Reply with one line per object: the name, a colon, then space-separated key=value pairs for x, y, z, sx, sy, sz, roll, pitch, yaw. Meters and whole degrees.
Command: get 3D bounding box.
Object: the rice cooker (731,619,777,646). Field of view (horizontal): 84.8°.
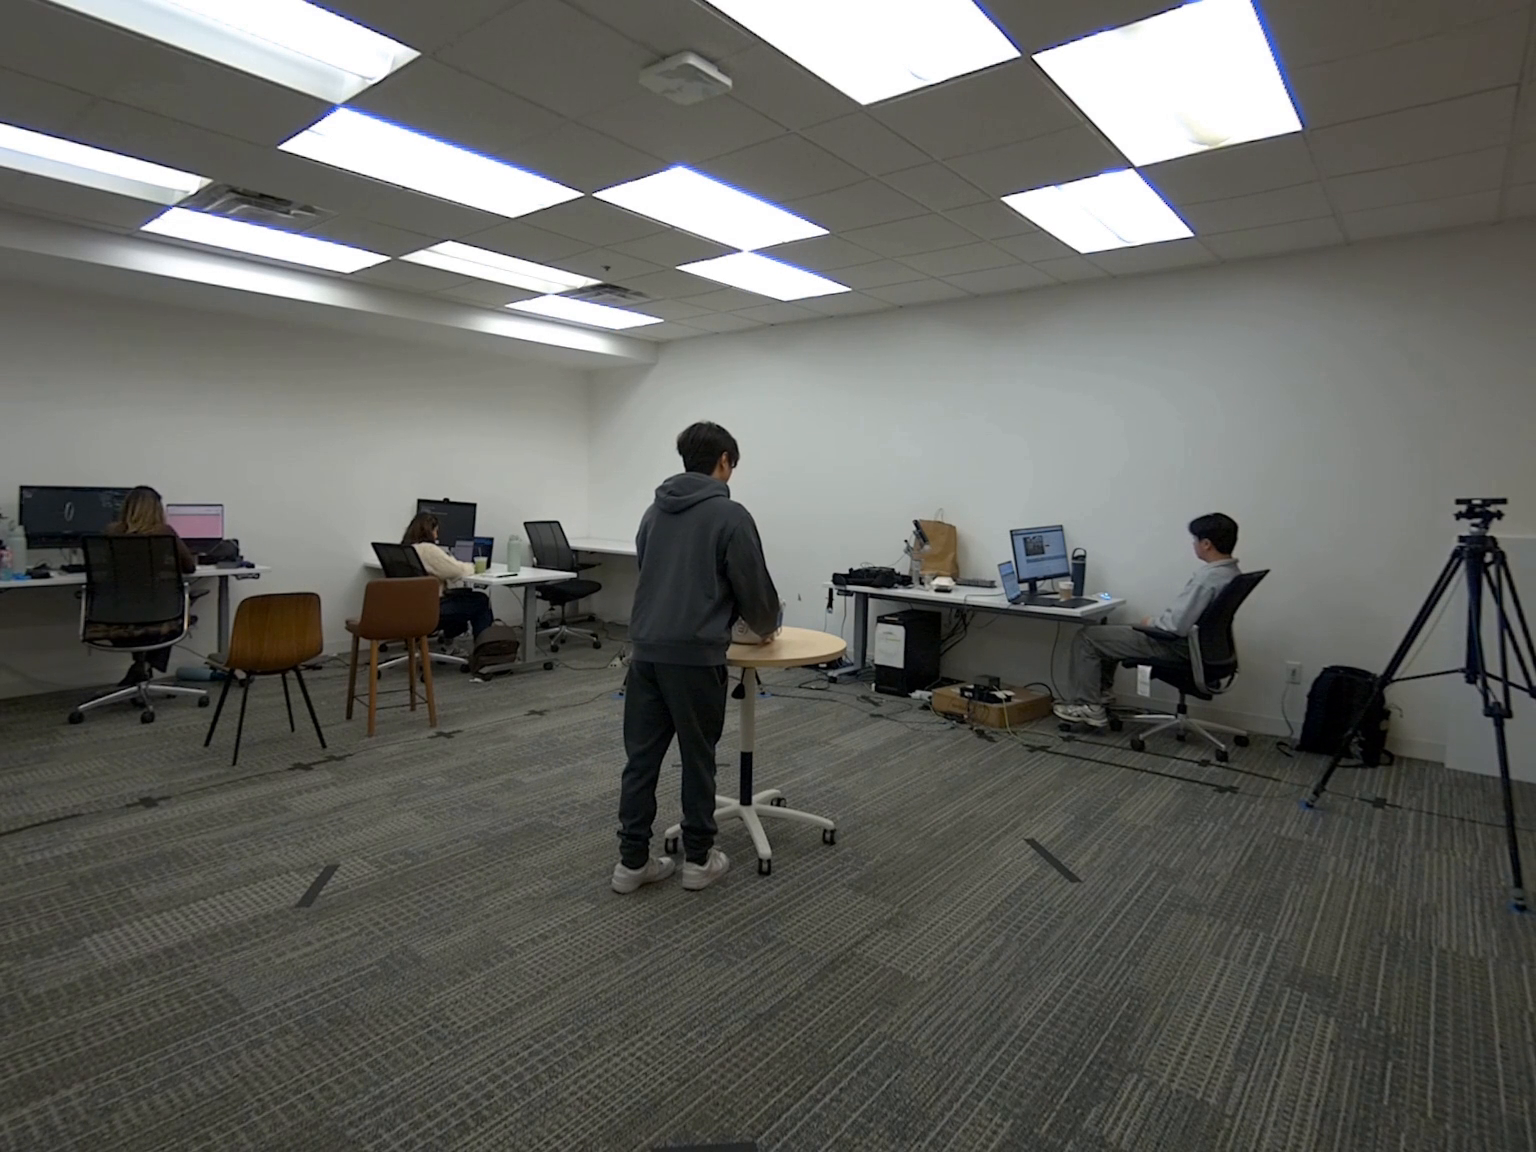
rice cooker: x=-0.066 y=0.137 z=3.333 sx=0.226 sy=0.232 sz=0.213 roll=3 pitch=4 yaw=21
